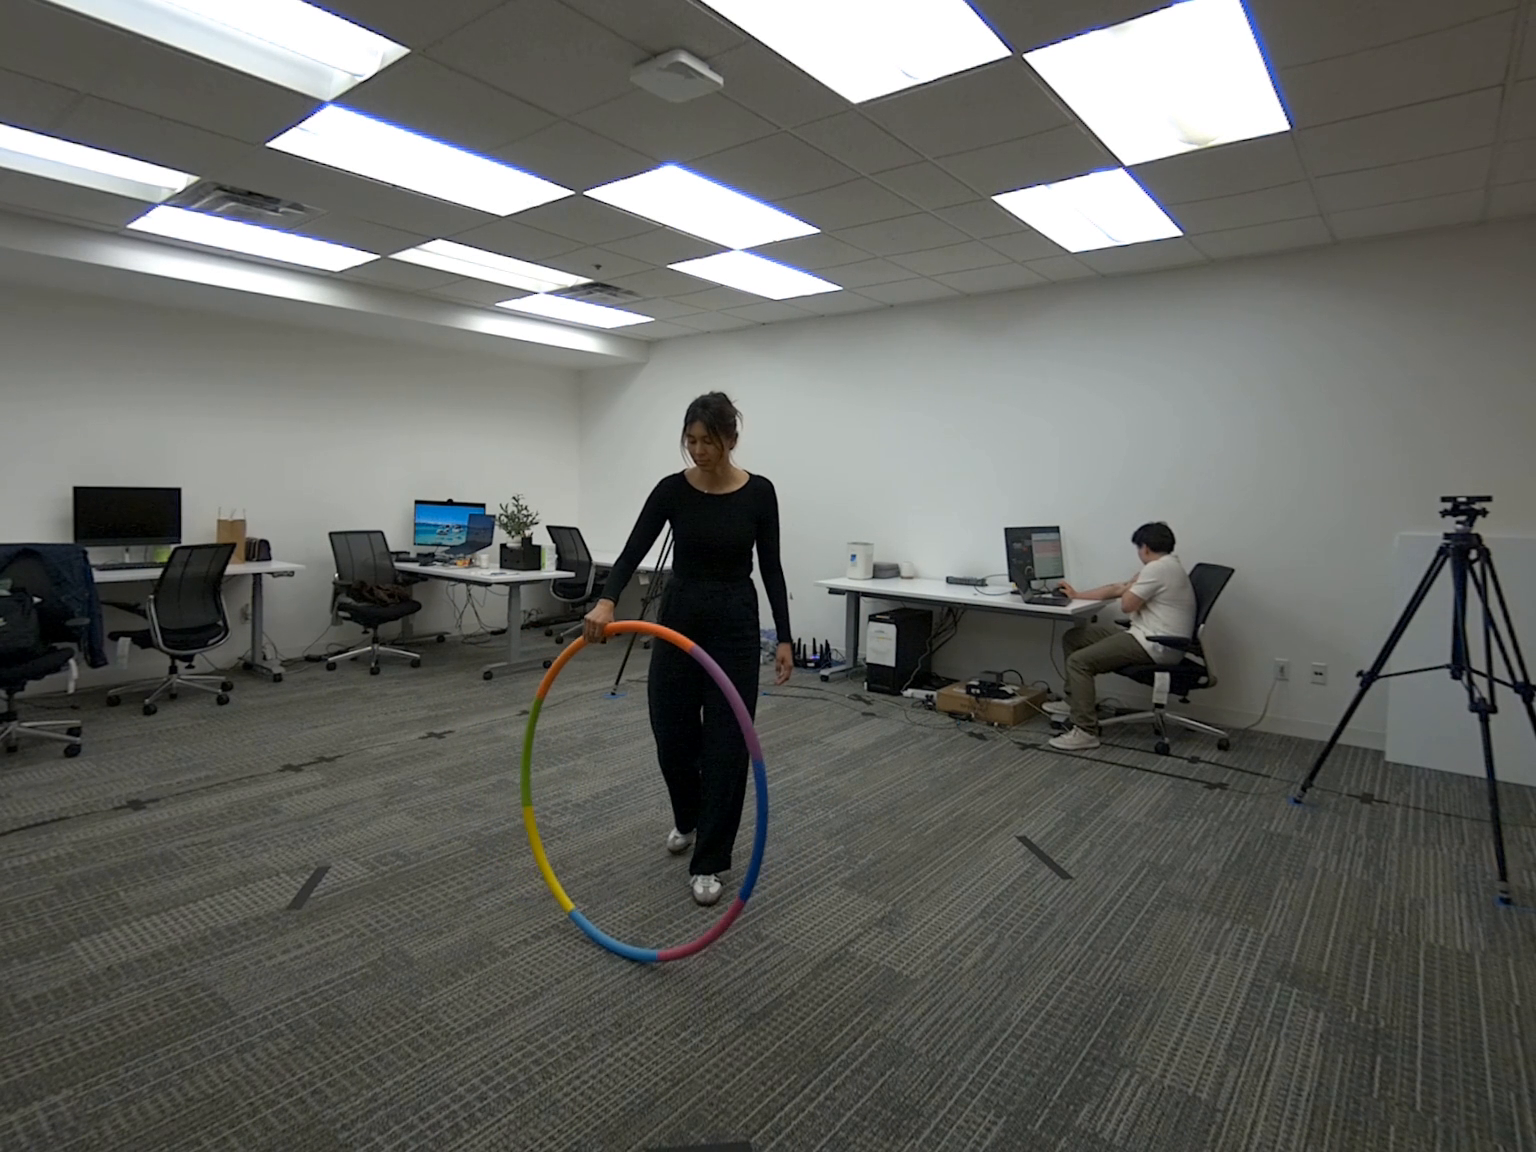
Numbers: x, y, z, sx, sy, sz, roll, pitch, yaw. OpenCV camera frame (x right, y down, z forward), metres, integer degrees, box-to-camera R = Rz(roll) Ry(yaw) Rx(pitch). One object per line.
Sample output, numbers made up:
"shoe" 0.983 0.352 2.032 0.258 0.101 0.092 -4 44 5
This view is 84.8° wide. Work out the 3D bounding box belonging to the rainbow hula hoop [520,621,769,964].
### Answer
"rainbow hula hoop" -0.427 0.628 2.566 1.010 0.981 0.034 4 -3 36
